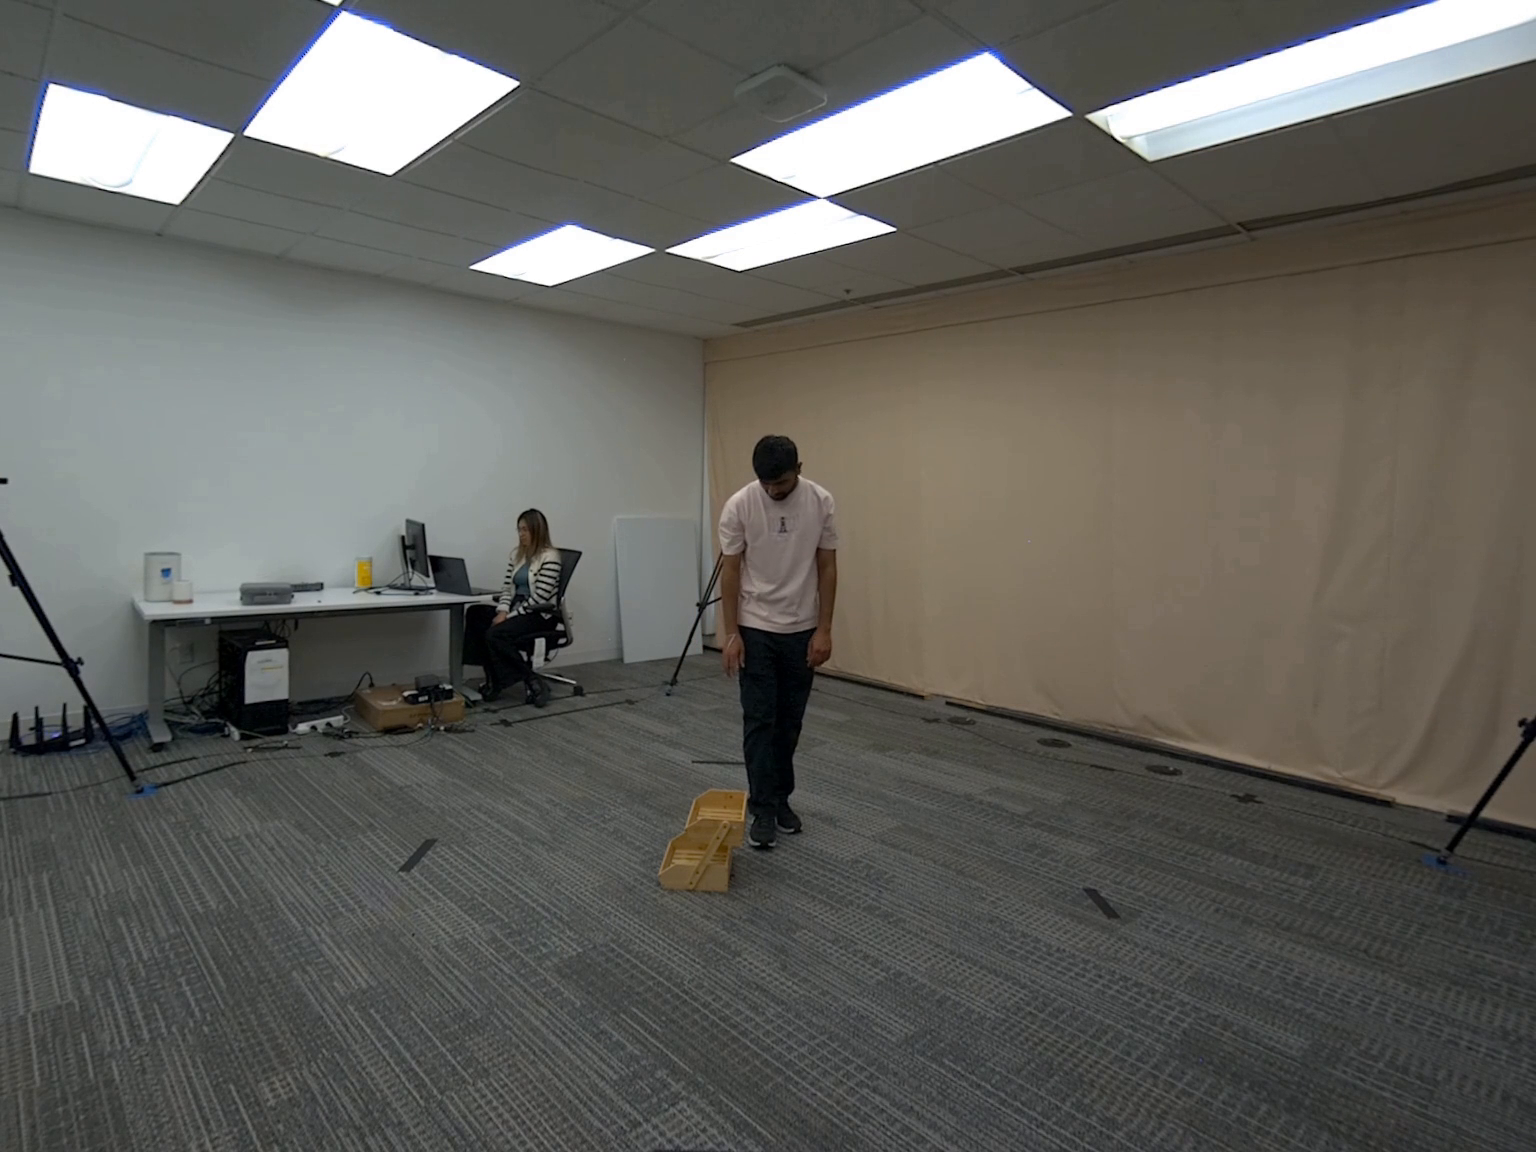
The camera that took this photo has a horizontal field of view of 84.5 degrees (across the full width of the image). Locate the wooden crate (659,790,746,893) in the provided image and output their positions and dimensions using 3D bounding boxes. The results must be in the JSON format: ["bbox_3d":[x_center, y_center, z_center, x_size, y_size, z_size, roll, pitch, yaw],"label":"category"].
[{"bbox_3d":[-0.251,0.972,3.118,0.303,0.272,0.325,1,4,2],"label":"wooden crate"}]
